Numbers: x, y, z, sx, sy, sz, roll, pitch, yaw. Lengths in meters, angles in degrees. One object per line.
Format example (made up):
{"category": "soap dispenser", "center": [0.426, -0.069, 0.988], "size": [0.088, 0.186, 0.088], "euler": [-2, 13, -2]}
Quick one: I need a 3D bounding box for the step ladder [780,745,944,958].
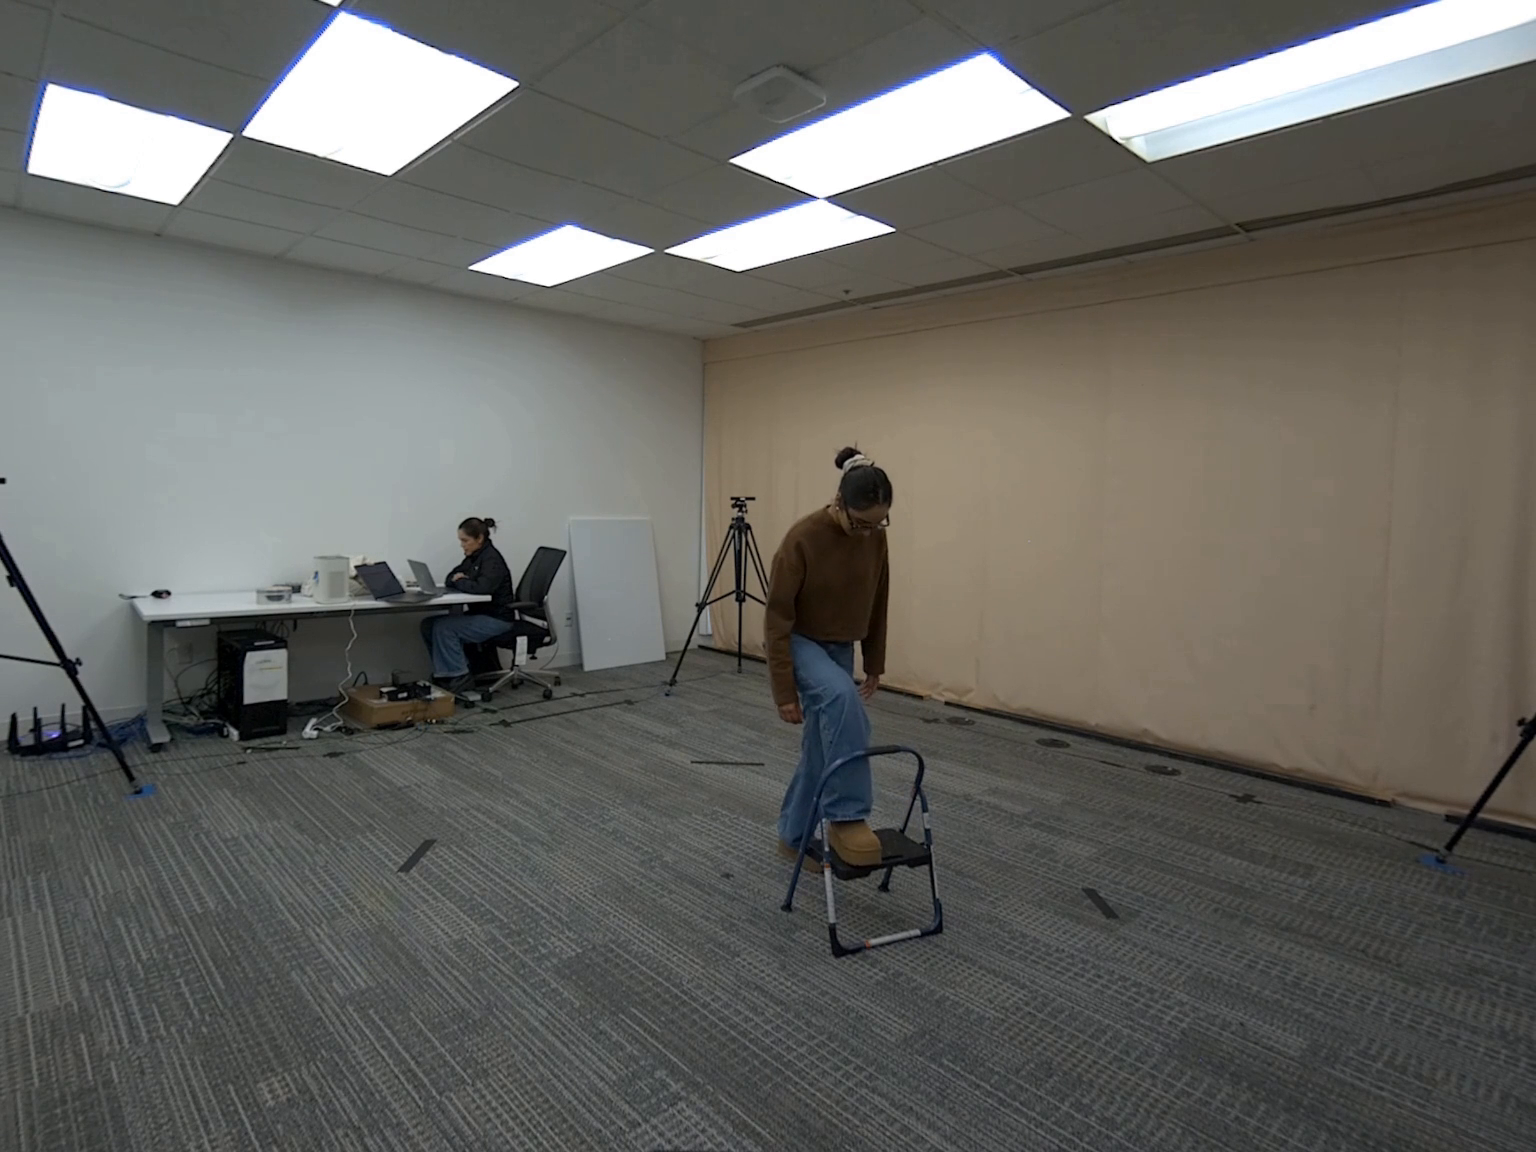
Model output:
{"category": "step ladder", "center": [0.313, 0.846, 2.786], "size": [0.422, 0.604, 0.357], "euler": [0, 4, -26]}
